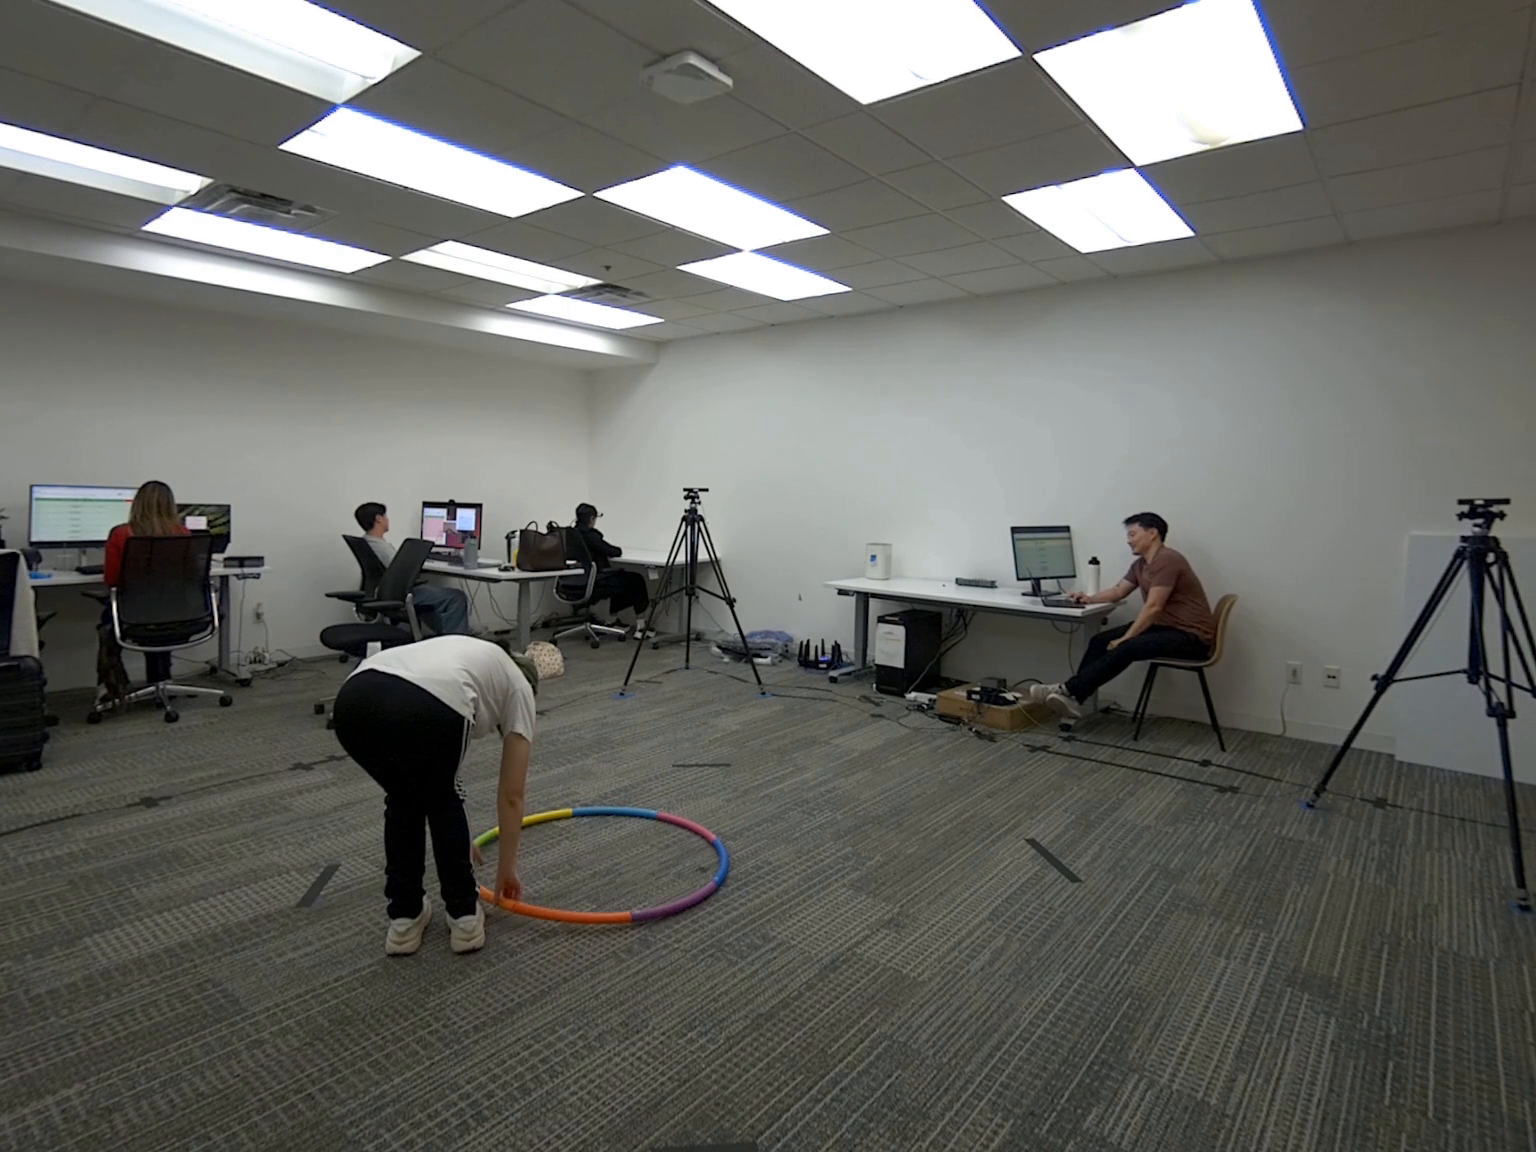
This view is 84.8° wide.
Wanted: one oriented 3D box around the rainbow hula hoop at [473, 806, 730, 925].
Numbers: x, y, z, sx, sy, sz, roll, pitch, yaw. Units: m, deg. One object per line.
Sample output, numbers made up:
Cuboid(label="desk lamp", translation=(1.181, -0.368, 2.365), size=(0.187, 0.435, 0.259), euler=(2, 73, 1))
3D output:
Cuboid(label="rainbow hula hoop", translation=(-0.637, 1.019, 3.137), size=(0.978, 0.035, 0.982), euler=(2, 4, -2))
